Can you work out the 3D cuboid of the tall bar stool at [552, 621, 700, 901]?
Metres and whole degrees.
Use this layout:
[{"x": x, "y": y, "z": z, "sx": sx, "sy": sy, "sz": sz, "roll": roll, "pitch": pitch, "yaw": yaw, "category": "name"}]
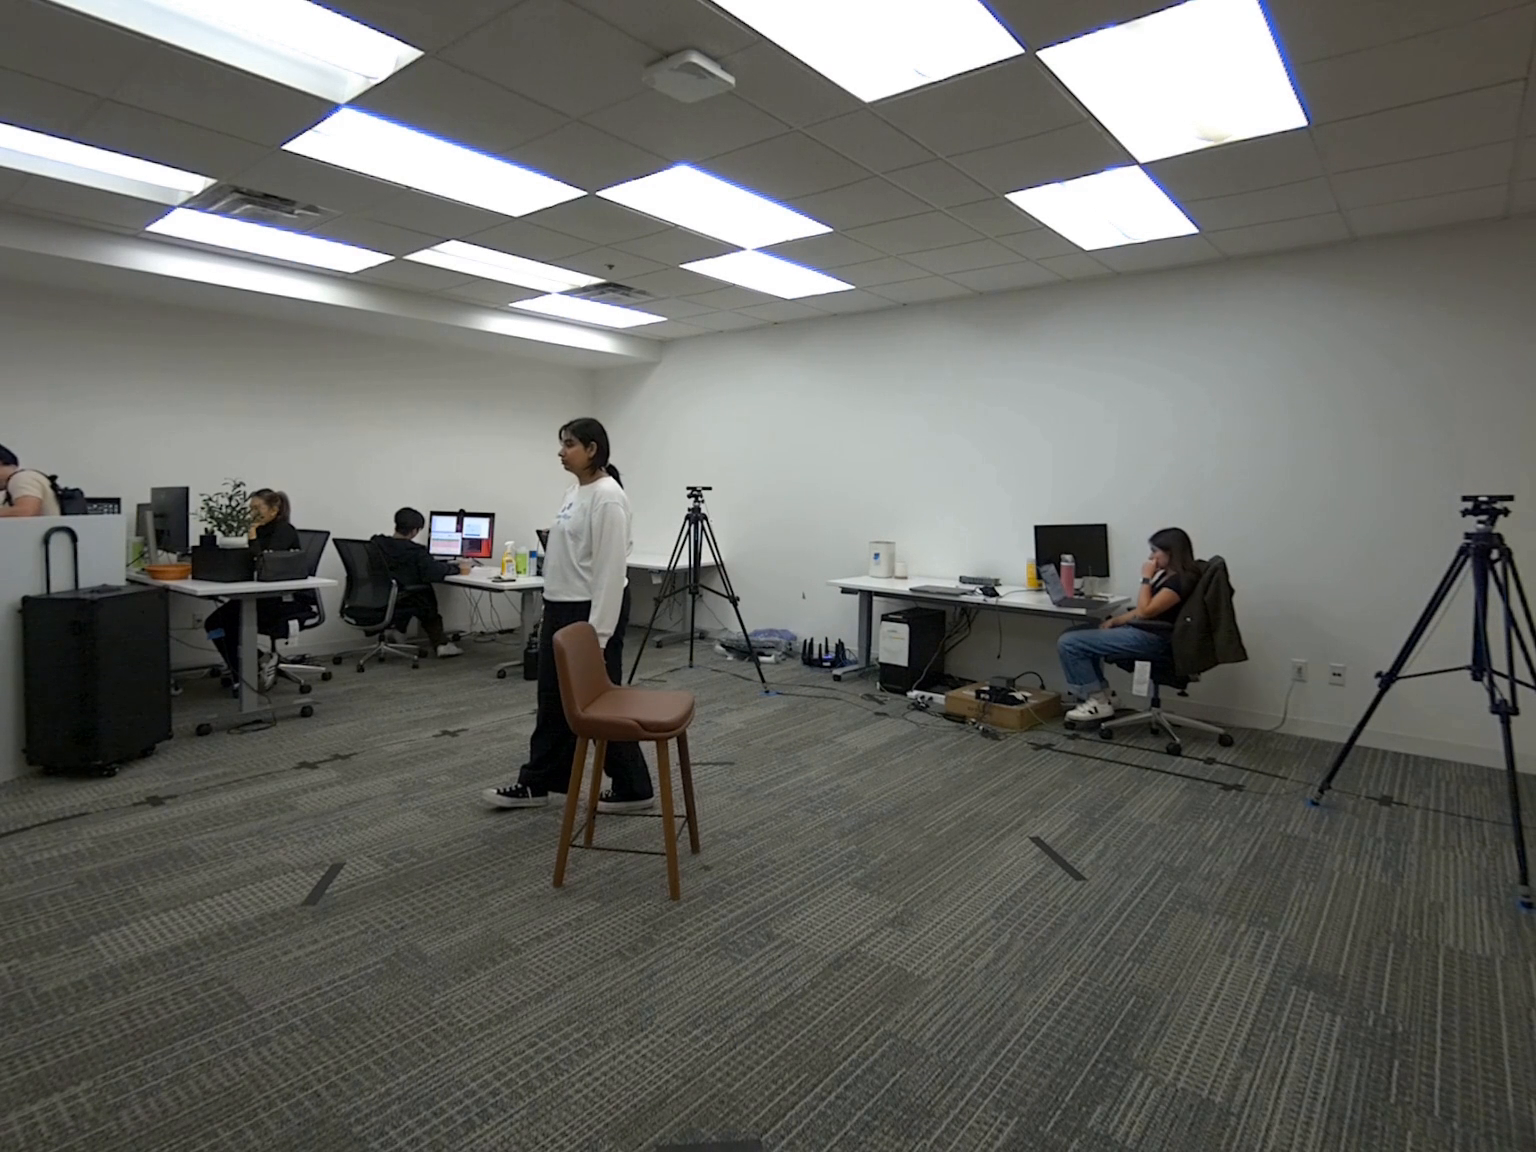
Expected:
[{"x": -0.506, "y": 0.631, "z": 3.069, "sx": 0.472, "sy": 0.888, "sz": 0.453, "roll": -1, "pitch": 2, "yaw": 8, "category": "tall bar stool"}]
